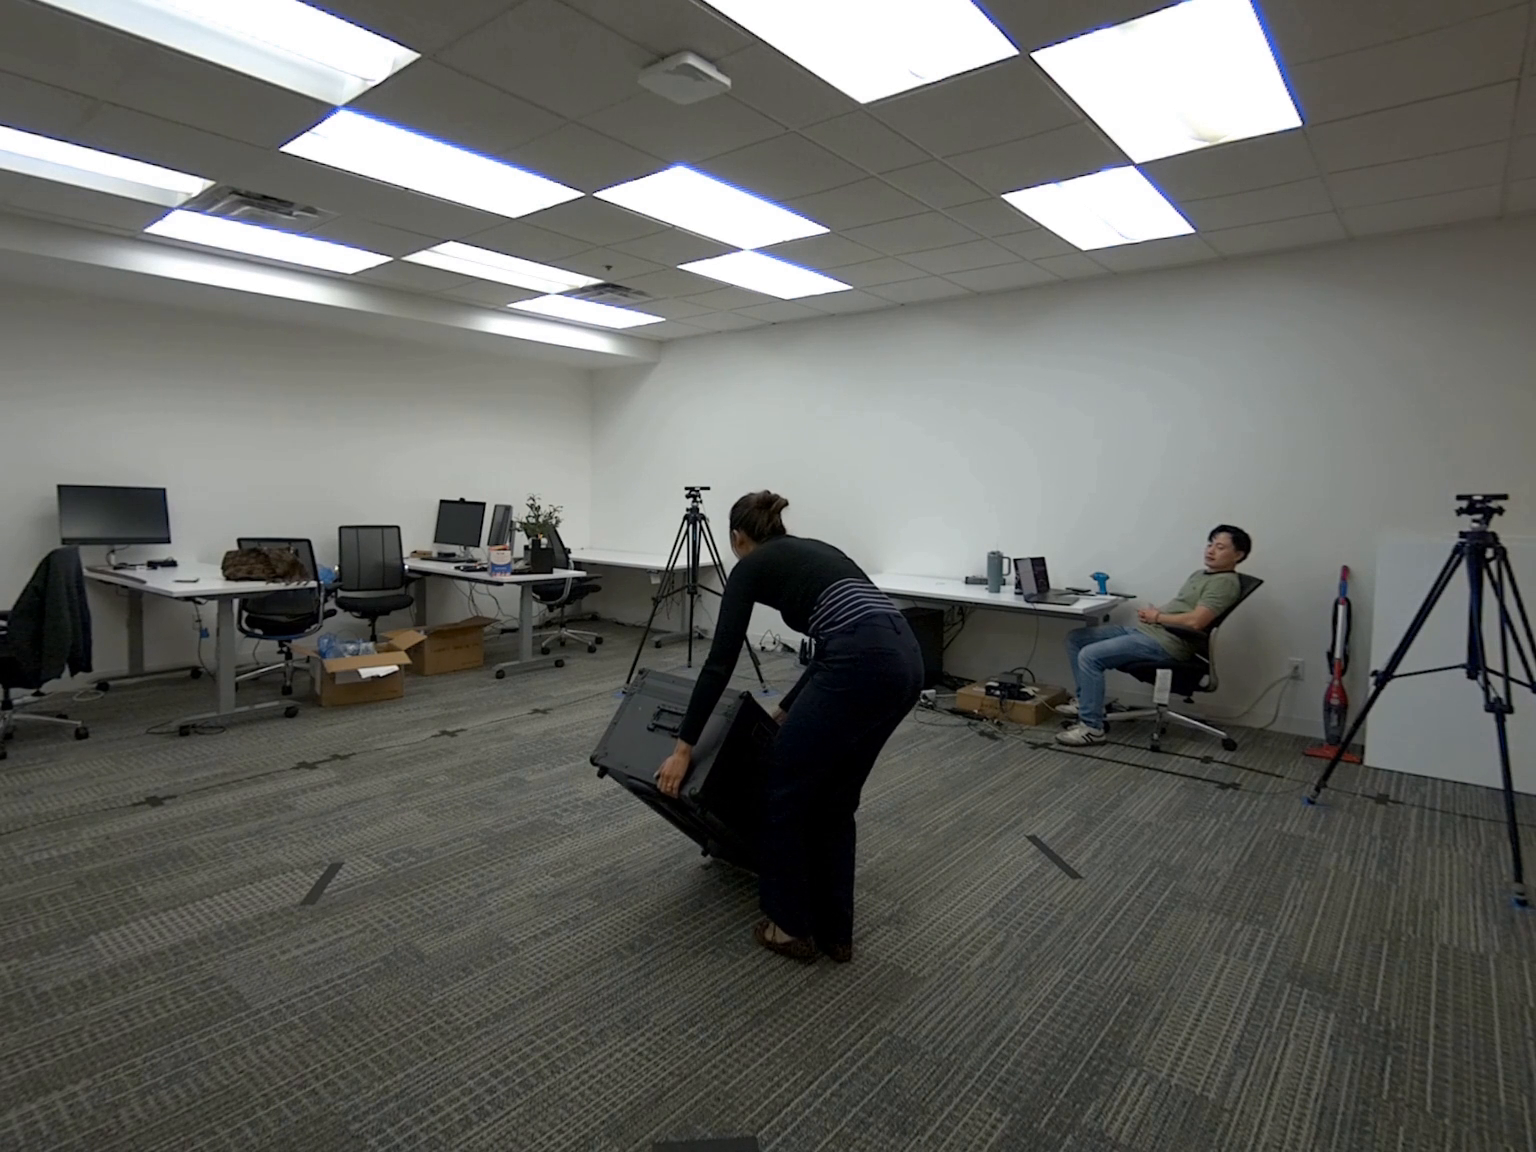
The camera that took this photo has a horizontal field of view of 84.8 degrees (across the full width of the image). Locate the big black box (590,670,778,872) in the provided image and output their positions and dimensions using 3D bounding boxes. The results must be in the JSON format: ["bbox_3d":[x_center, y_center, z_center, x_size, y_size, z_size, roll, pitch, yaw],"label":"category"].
[{"bbox_3d":[-0.167,0.691,2.869,0.539,0.399,0.827,6,-34,42],"label":"big black box"}]
